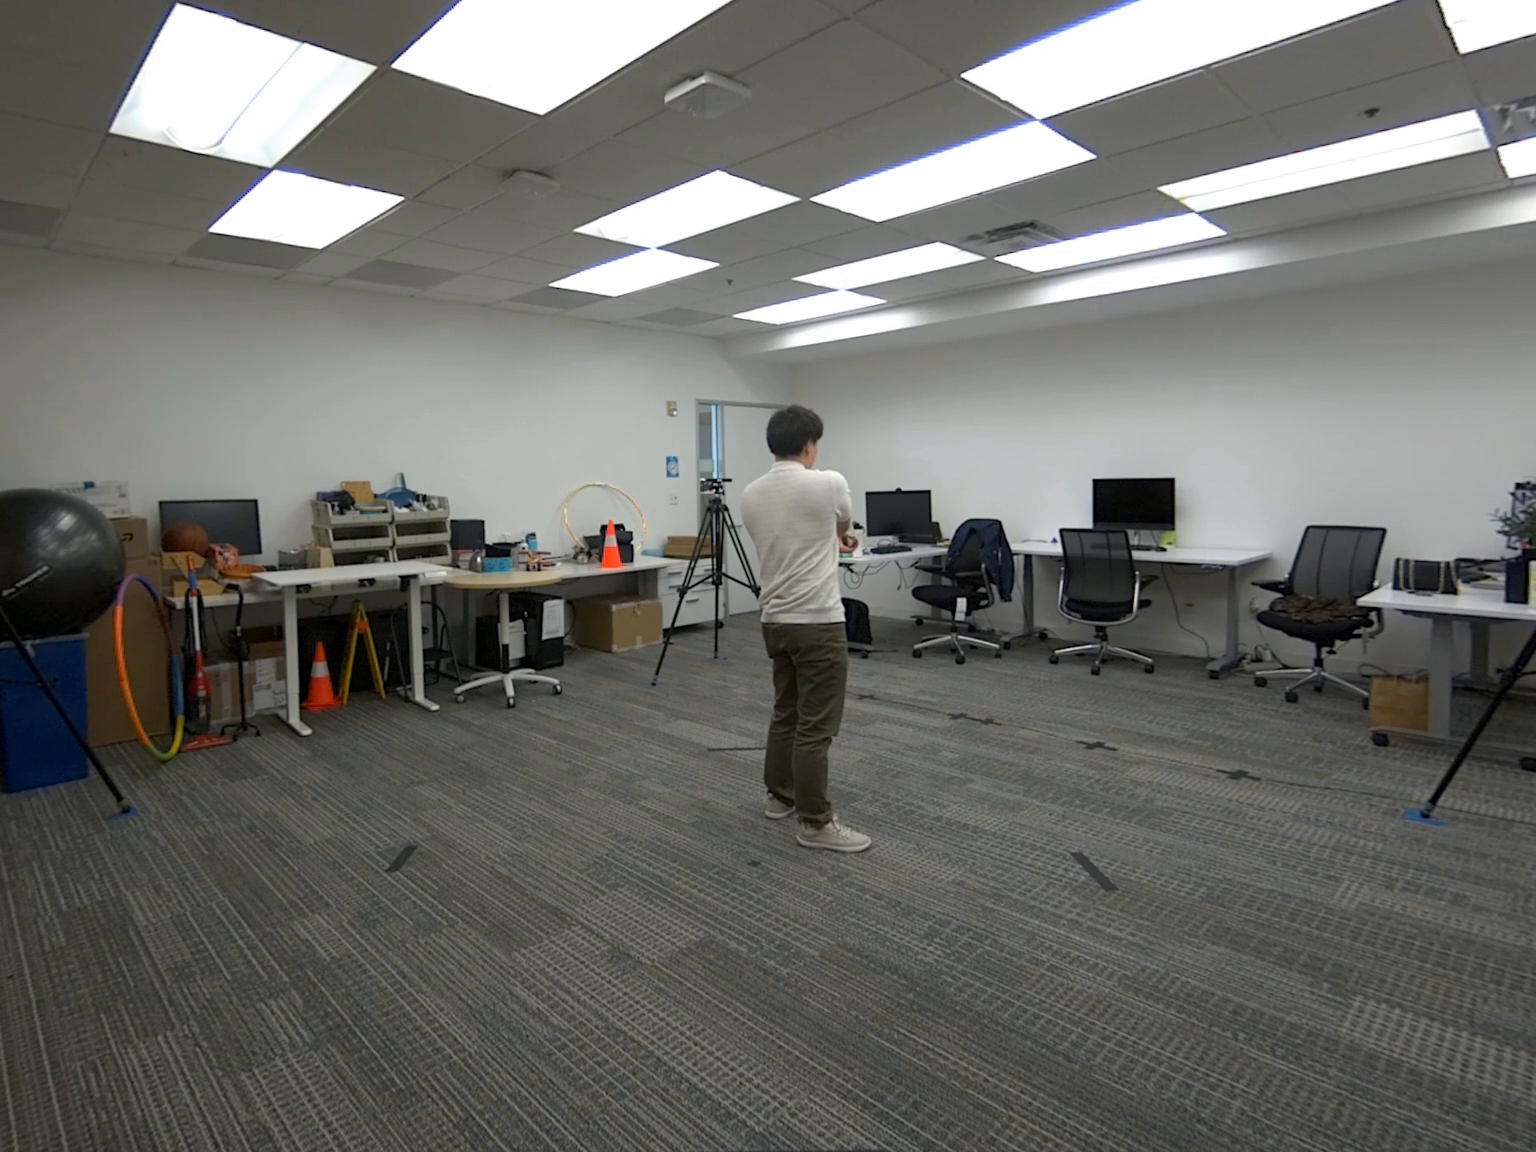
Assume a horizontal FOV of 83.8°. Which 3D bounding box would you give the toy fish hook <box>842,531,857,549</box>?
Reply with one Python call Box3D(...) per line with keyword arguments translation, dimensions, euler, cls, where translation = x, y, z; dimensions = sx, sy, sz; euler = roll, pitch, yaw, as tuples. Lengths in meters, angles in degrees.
Box3D(translation=(0.306, -0.197, 3.870), dimensions=(0.220, 0.047, 0.525), euler=(-15, 23, -33), cls="toy fish hook")
